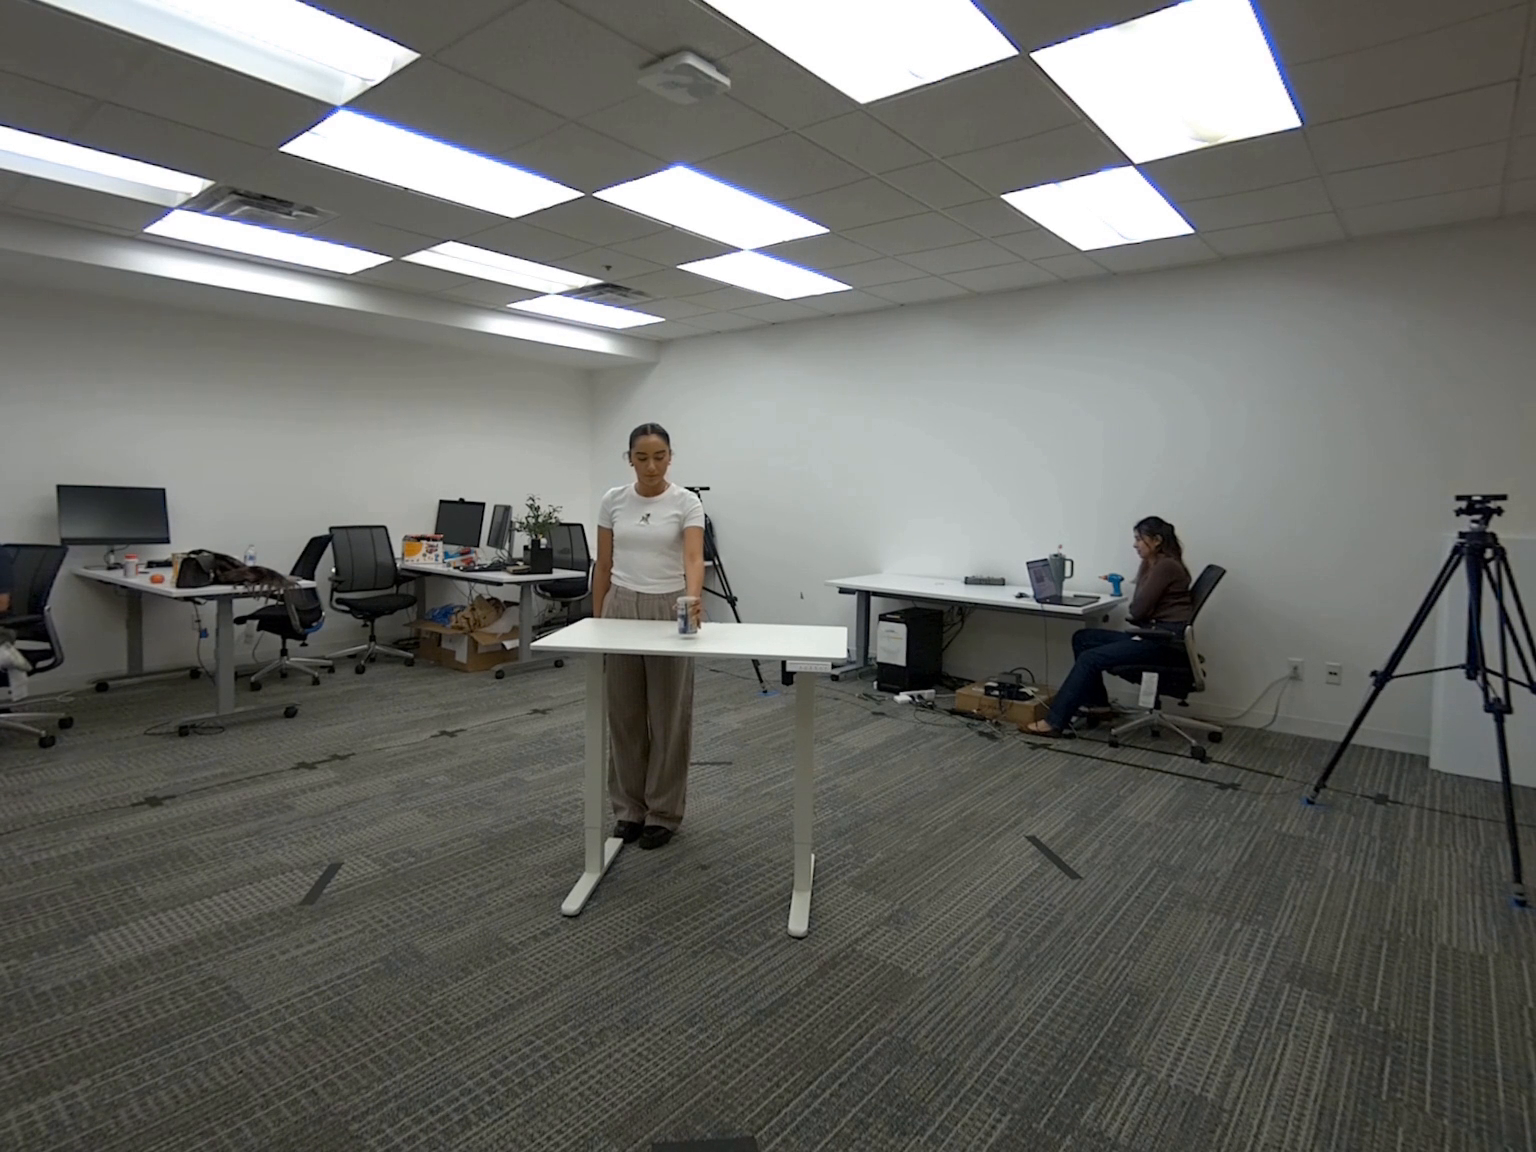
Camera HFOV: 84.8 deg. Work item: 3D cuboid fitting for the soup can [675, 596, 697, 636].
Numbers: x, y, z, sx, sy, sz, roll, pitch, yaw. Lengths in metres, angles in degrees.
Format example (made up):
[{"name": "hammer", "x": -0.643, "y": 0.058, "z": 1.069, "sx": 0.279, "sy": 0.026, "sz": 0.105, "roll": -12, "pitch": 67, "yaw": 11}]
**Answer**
[{"name": "soup can", "x": -0.282, "y": 0.129, "z": 2.868, "sx": 0.067, "sy": 0.121, "sz": 0.067, "roll": -2, "pitch": 4, "yaw": -2}]
